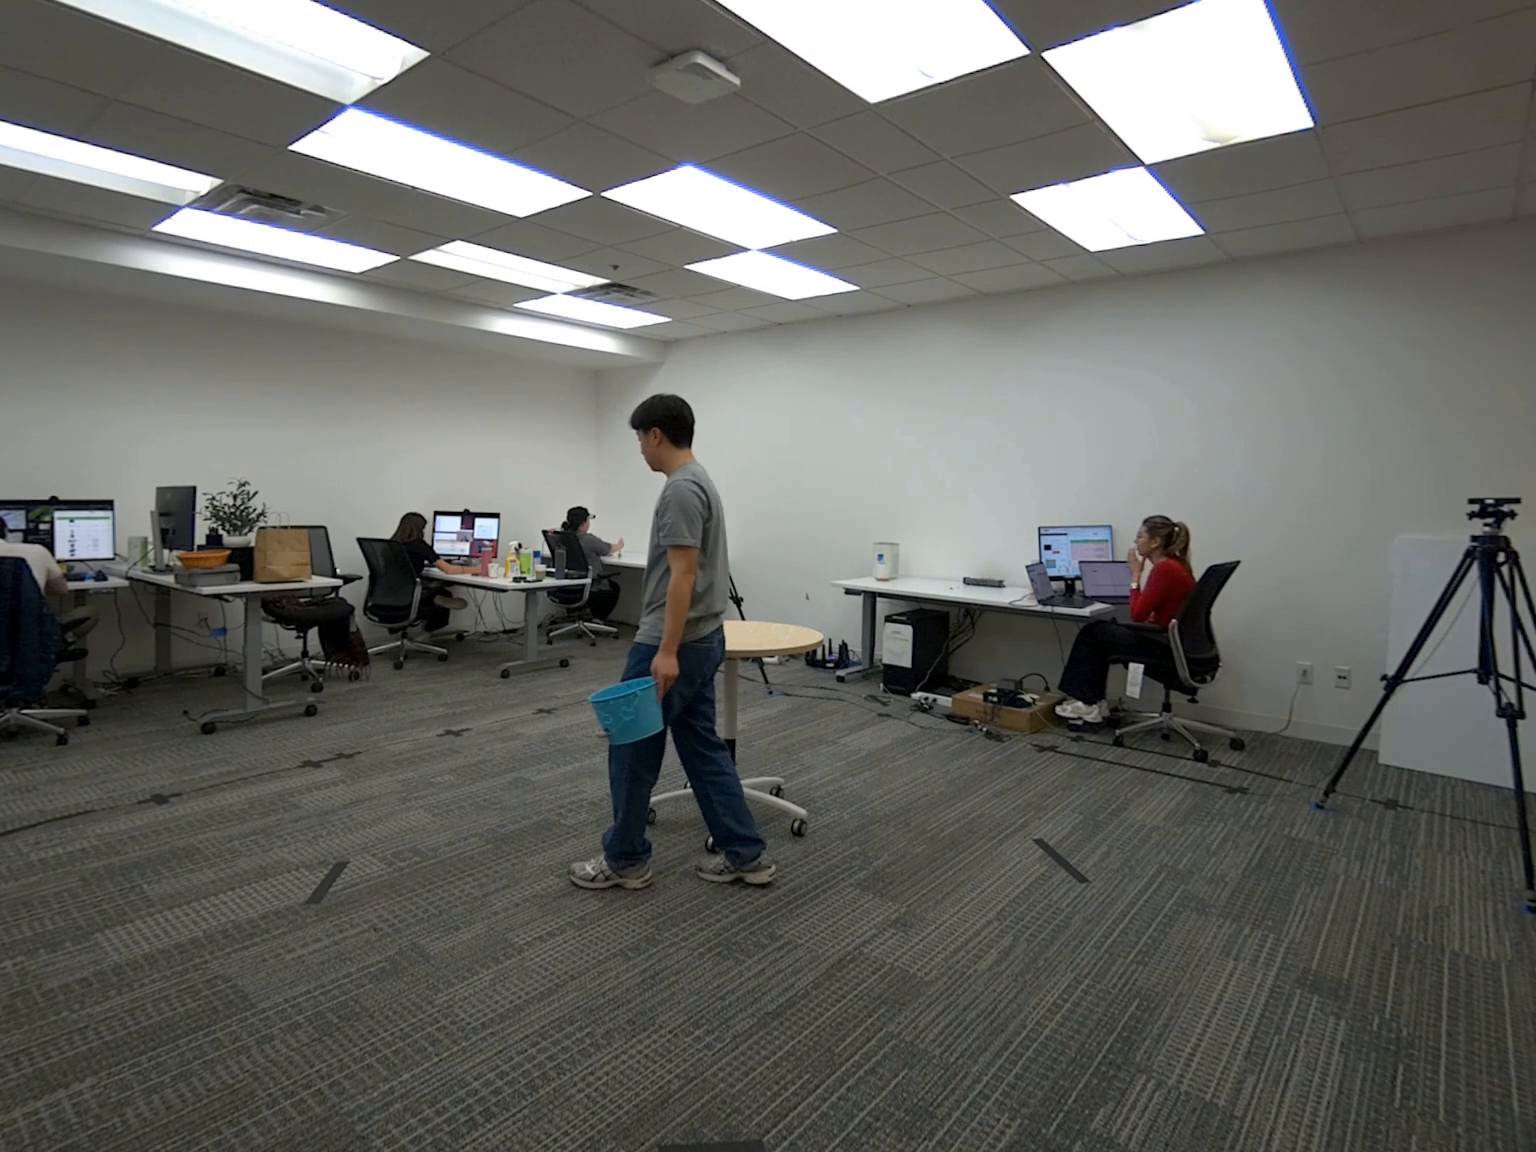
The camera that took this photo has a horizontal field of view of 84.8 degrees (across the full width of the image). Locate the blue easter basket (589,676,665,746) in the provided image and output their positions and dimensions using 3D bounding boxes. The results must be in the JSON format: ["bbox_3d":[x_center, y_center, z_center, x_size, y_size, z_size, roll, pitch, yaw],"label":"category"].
[{"bbox_3d":[-0.471,0.413,2.702,0.243,0.155,0.244,-13,3,-1],"label":"blue easter basket"}]
